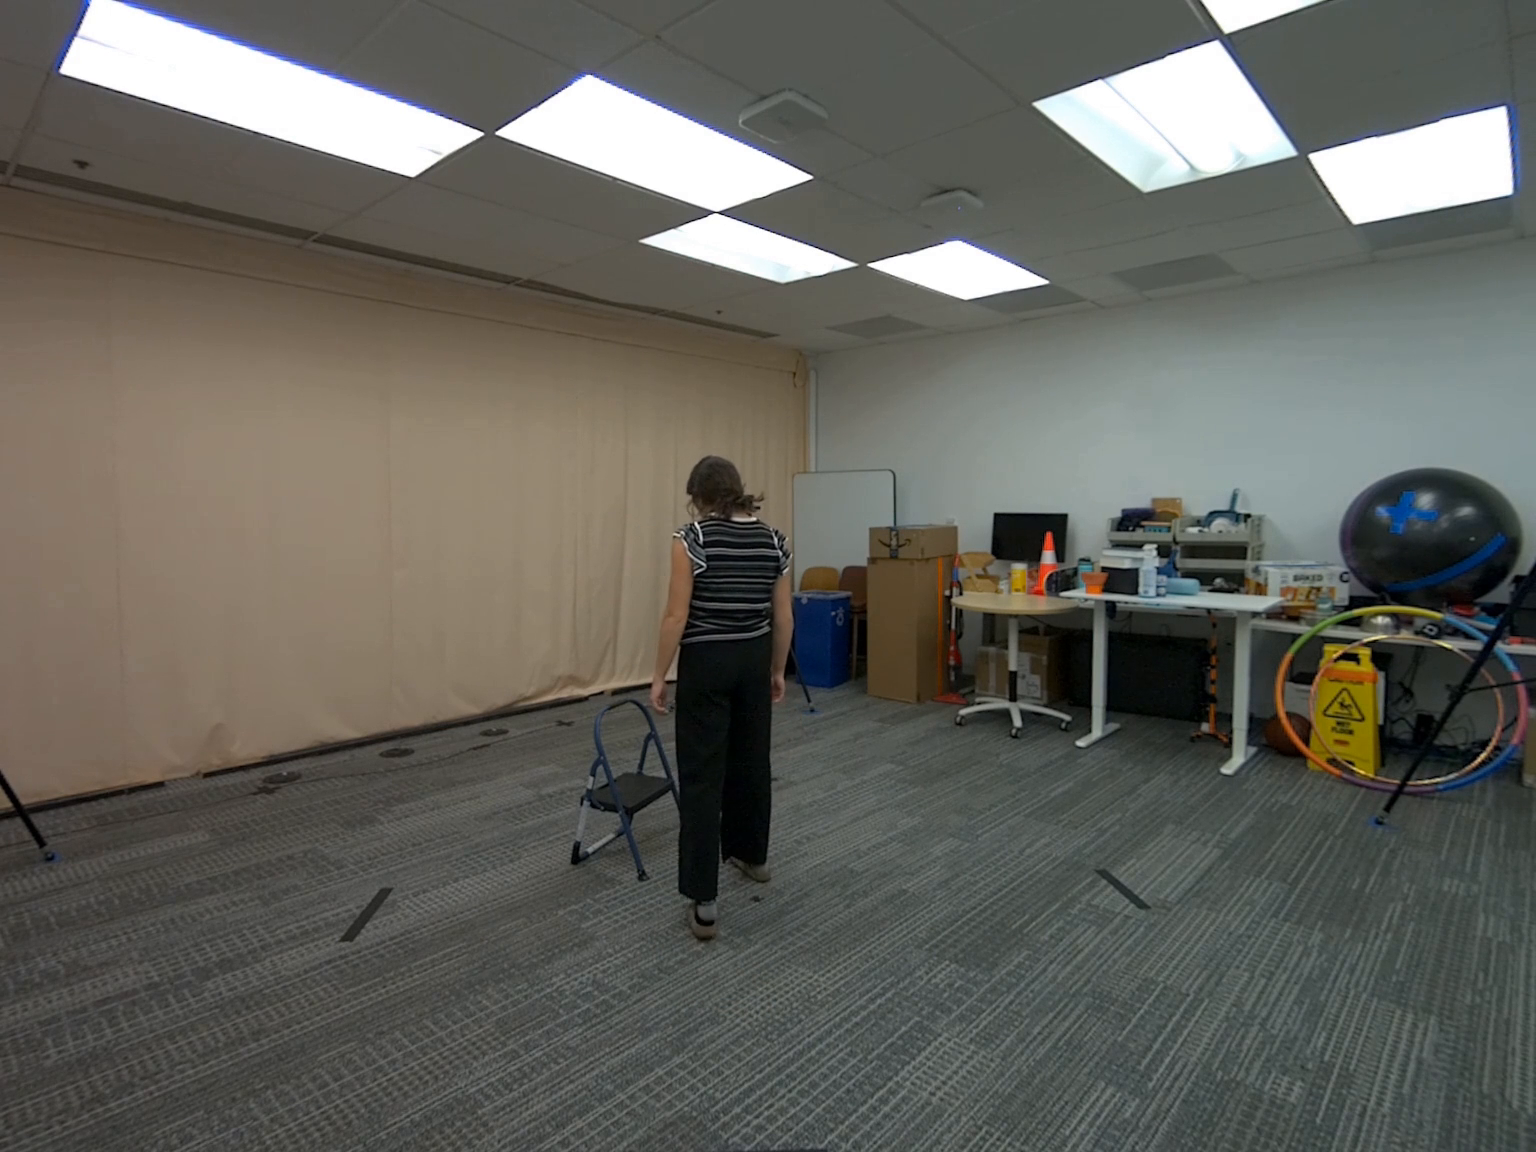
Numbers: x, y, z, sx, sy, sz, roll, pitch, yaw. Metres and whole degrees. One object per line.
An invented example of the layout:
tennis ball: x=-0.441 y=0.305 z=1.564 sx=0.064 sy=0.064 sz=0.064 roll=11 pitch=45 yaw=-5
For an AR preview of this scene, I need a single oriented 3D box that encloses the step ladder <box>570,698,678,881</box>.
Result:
step ladder: x=-0.537 y=0.814 z=3.383 sx=0.358 sy=0.605 sz=0.421 roll=1 pitch=3 yaw=23
